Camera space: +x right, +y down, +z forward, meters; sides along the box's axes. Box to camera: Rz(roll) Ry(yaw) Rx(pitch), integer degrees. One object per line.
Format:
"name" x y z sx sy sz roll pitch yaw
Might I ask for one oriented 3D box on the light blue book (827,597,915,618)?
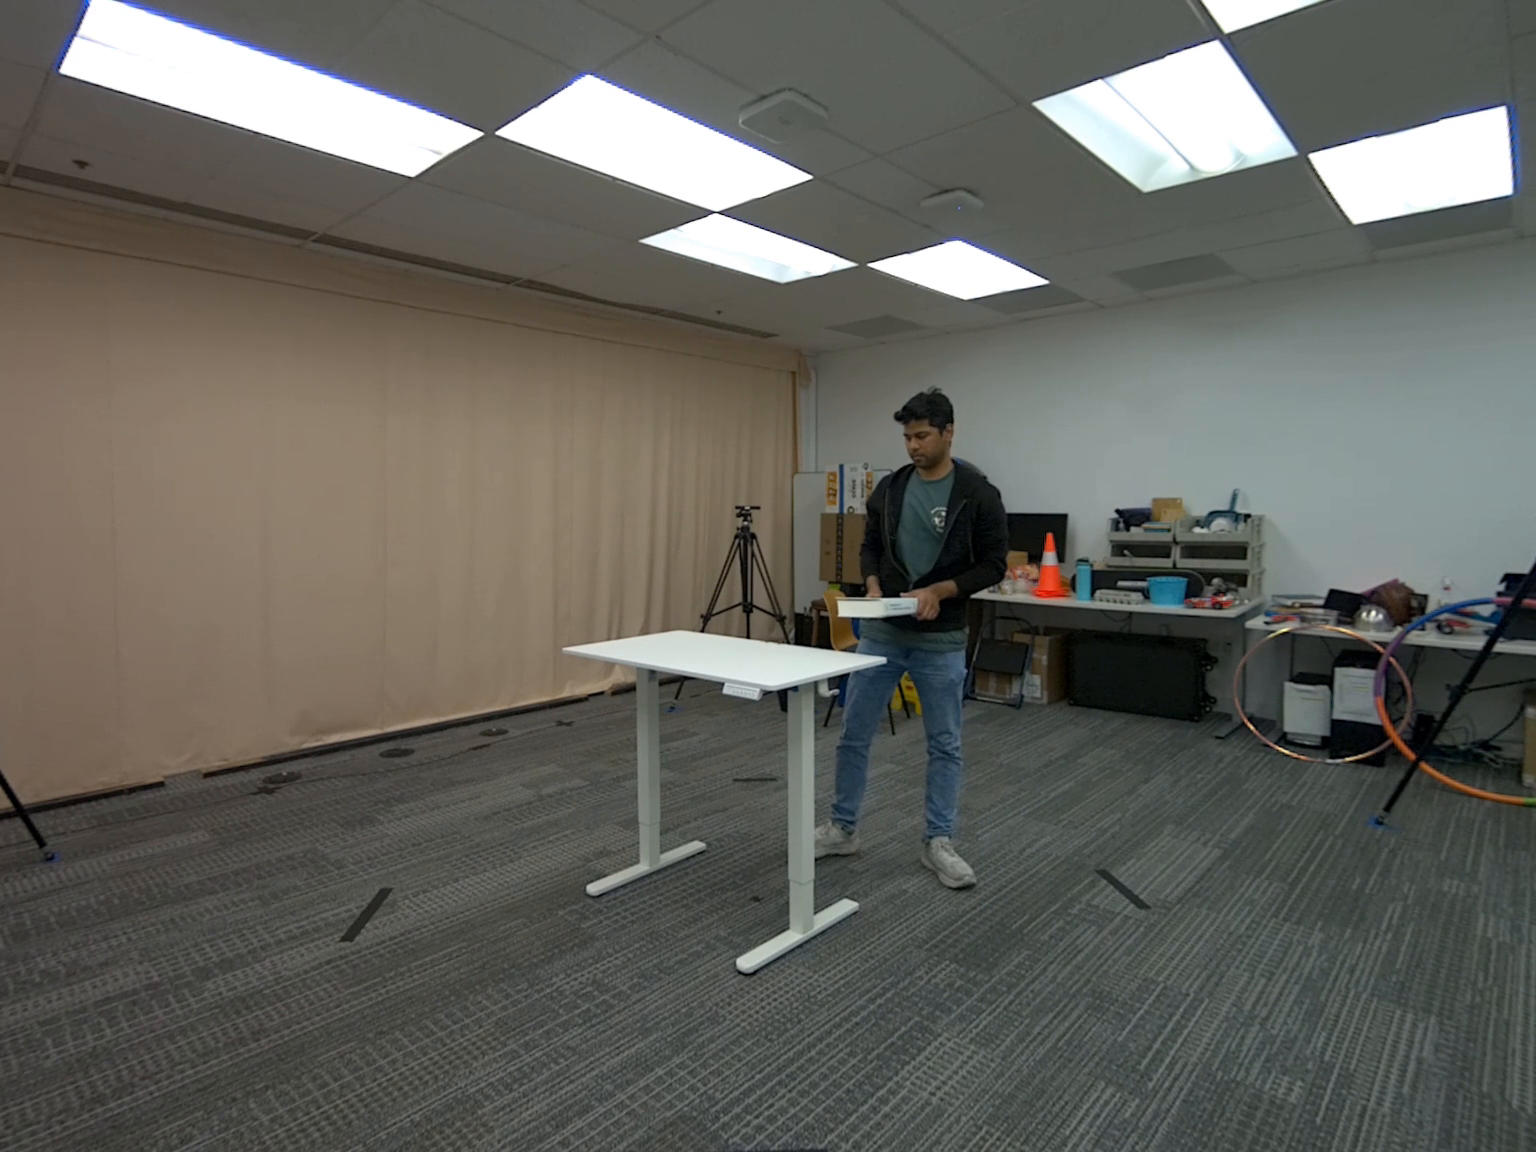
"light blue book" 0.356 0.106 2.929 0.197 0.059 0.253 0 -1 38
